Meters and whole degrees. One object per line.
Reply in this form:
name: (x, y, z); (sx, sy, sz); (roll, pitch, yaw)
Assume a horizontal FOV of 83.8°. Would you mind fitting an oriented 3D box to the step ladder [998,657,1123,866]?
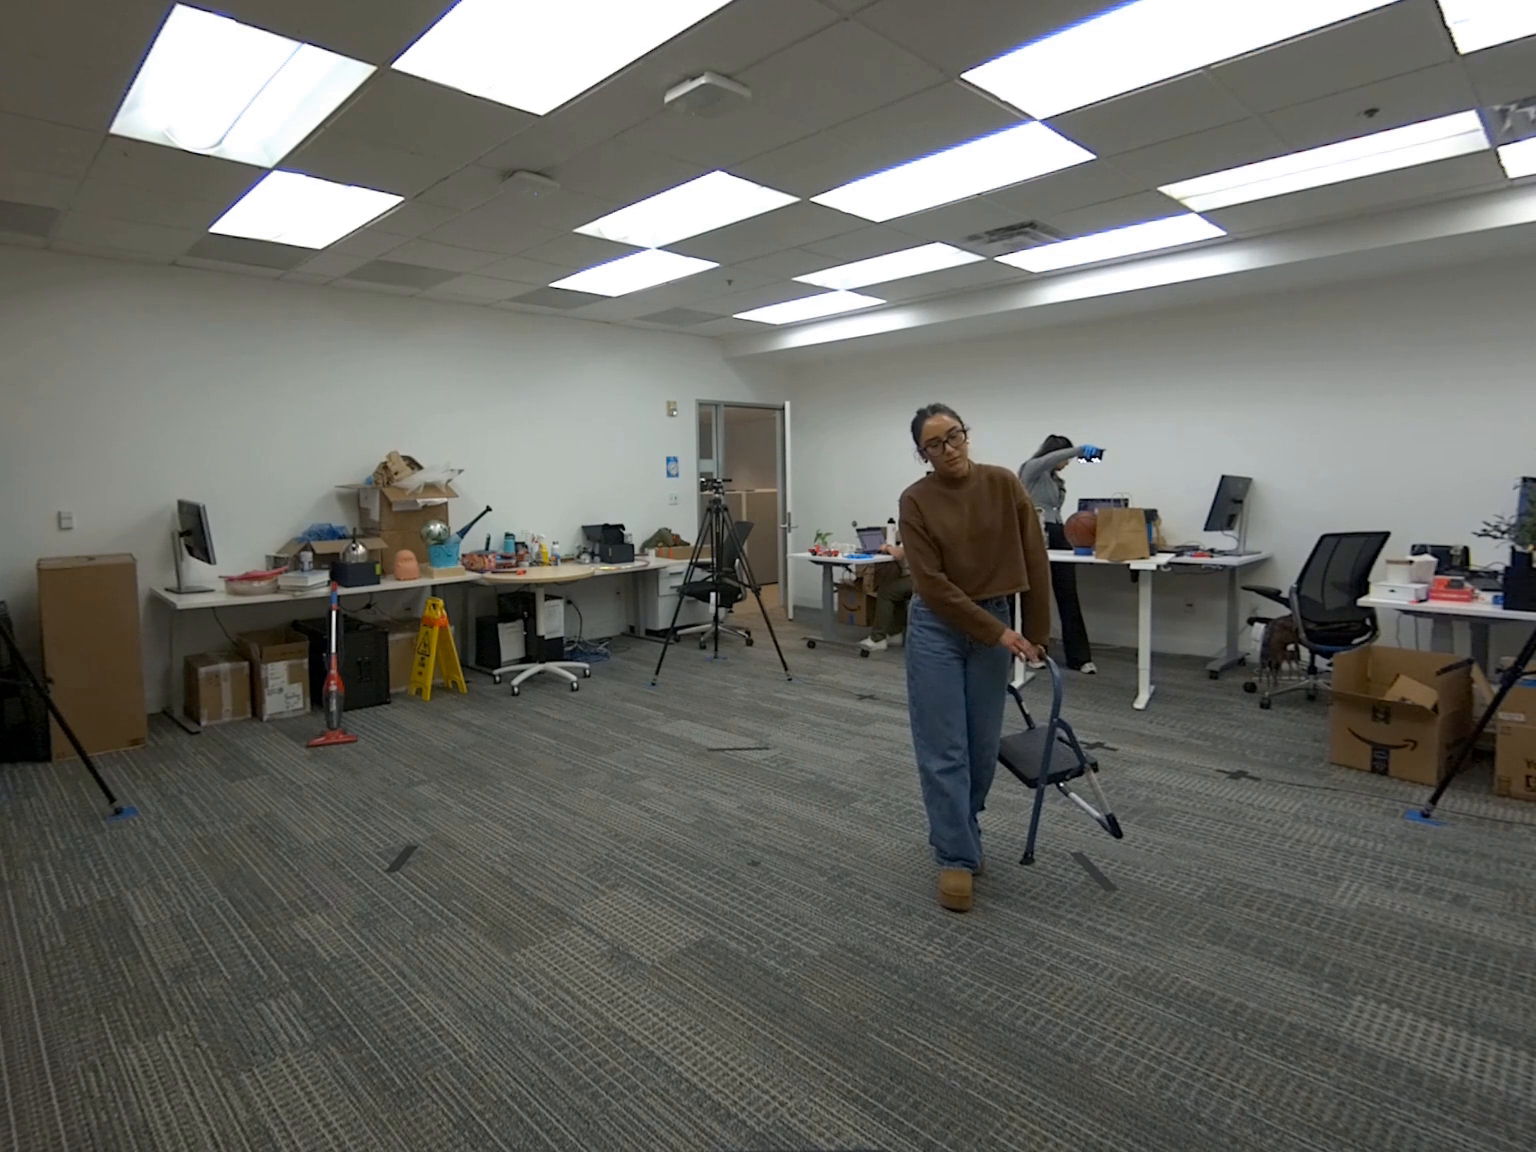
step ladder: (0.897, 0.561, 2.894); (0.348, 0.600, 0.437); (-13, 10, -7)
